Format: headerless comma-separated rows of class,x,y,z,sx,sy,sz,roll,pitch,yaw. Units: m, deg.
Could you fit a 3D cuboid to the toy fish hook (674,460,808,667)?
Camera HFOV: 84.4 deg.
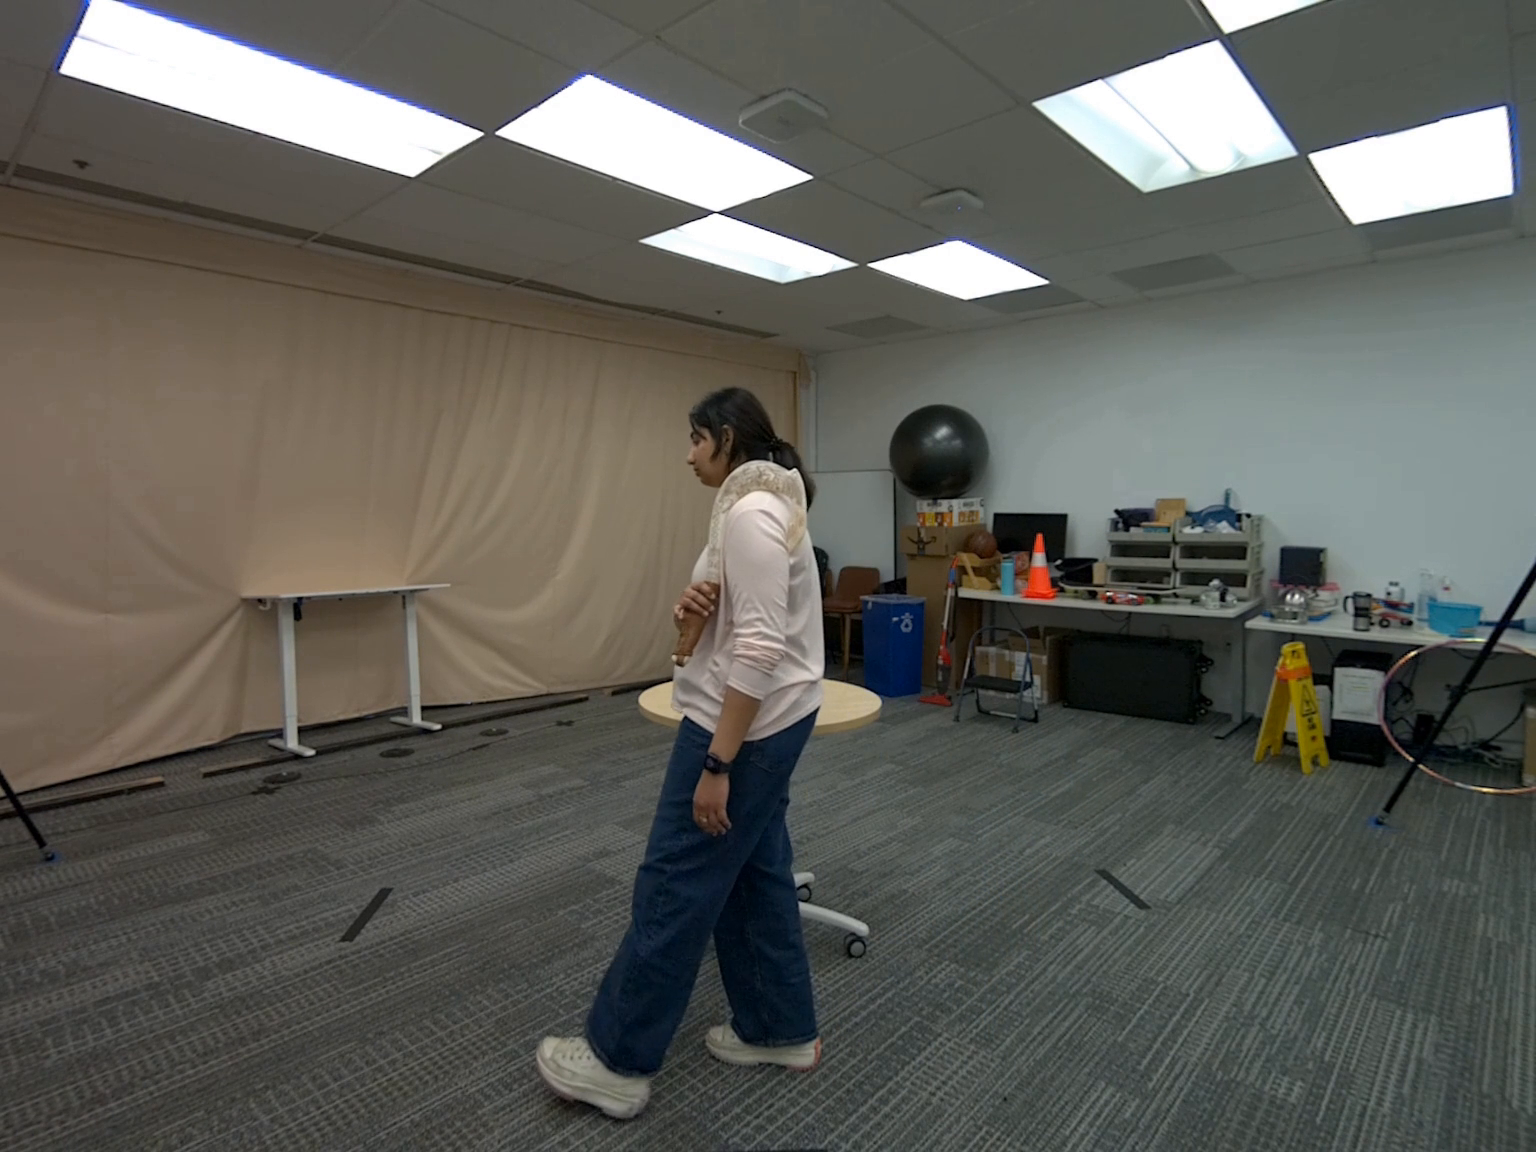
toy fish hook,-0.067,-0.017,1.886,0.231,0.507,0.047,18,-7,23
